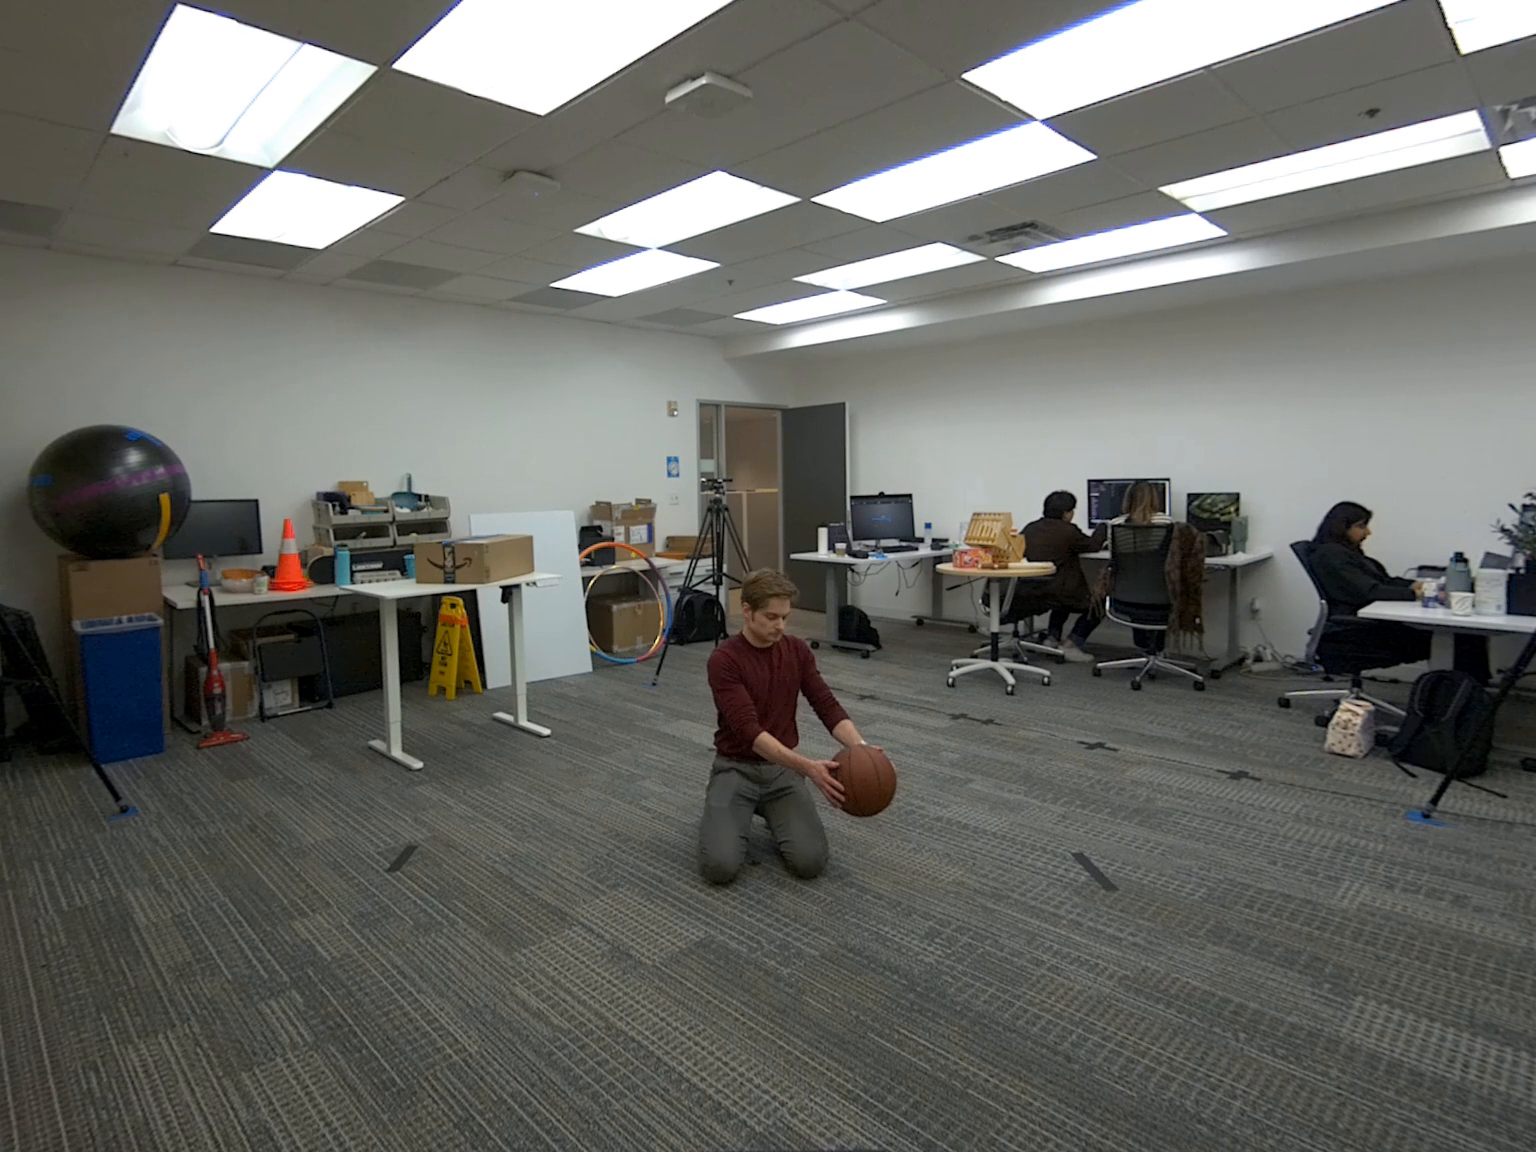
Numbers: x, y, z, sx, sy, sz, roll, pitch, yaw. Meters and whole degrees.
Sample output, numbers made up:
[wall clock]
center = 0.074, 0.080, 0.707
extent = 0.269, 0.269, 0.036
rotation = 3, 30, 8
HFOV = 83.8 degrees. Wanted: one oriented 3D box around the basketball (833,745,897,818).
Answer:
[basketball]
center = 0.313, 0.707, 2.935
extent = 0.236, 0.235, 0.237
rotation = -1, 5, -2
